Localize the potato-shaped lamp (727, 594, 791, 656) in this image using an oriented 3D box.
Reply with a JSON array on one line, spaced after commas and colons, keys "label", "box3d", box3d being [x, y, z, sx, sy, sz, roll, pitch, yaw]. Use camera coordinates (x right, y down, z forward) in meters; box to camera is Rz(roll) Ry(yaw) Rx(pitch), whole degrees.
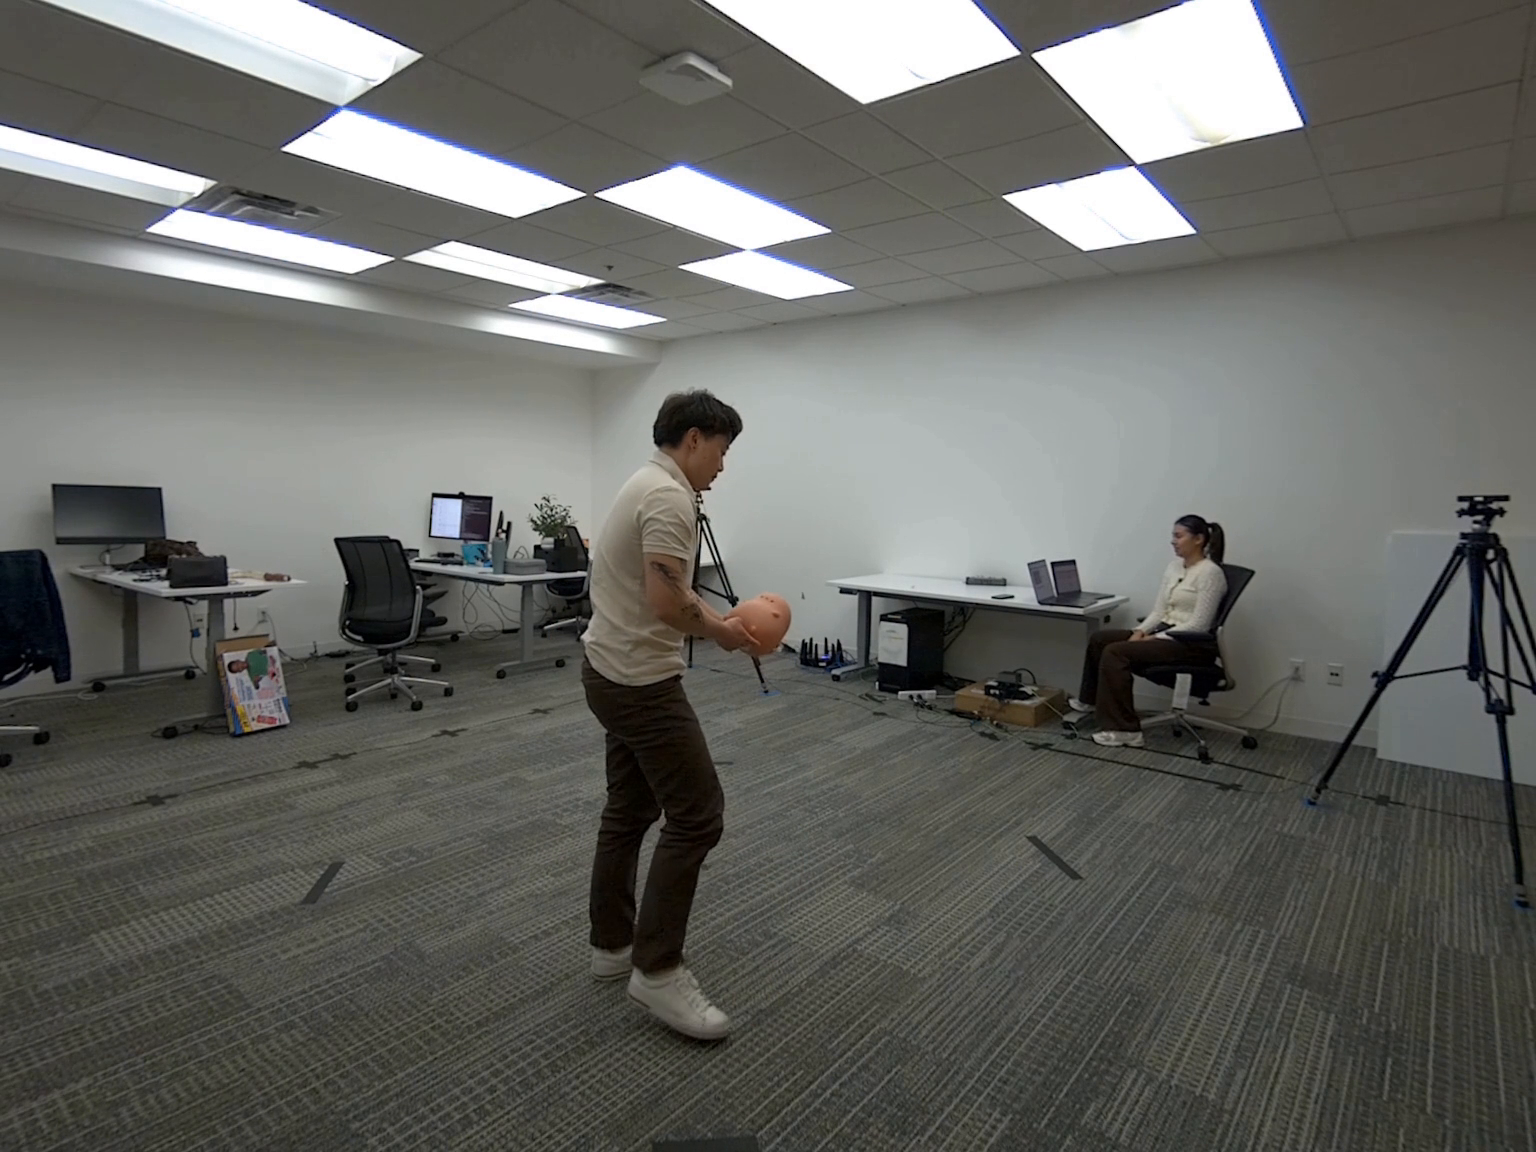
[{"label": "potato-shaped lamp", "box3d": [-0.030, 0.138, 2.505, 0.171, 0.166, 0.197, 19, 48, 37]}]
